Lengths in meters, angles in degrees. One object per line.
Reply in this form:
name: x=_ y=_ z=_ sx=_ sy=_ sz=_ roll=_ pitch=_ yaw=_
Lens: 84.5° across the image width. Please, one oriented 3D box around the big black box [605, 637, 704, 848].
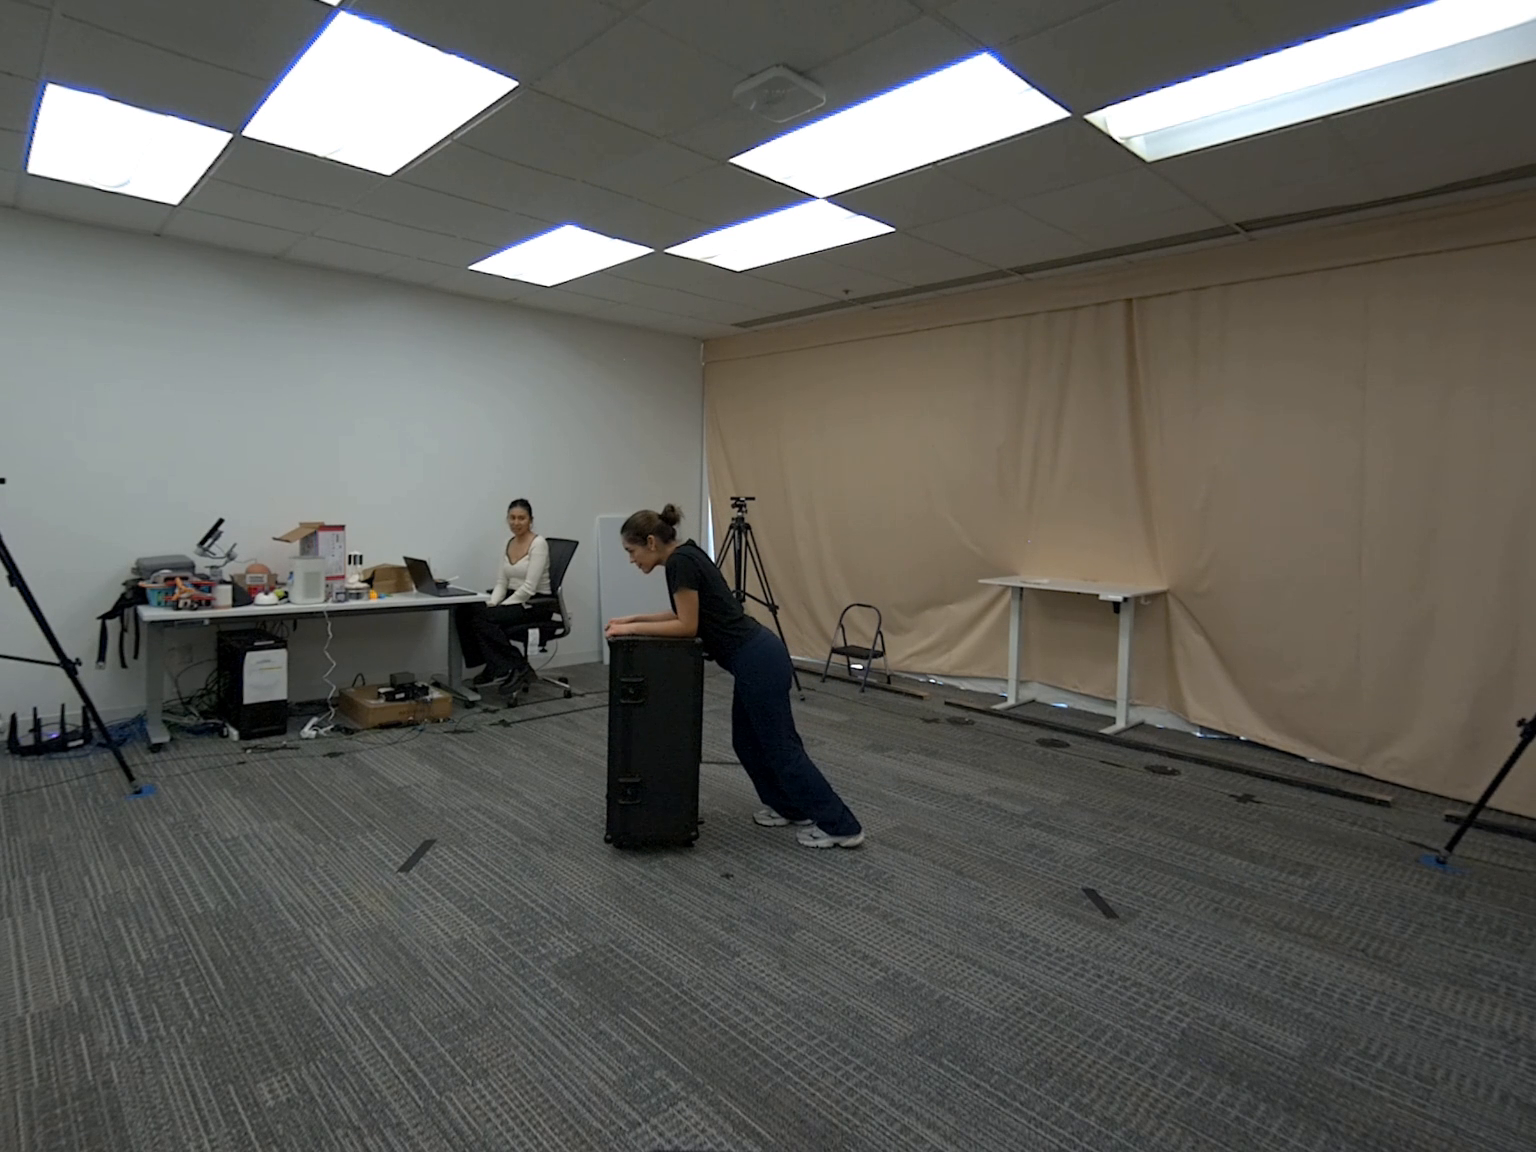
big black box: x=-0.469 y=0.583 z=3.422 sx=0.393 sy=0.860 sz=0.526 roll=1 pitch=3 yaw=-10
